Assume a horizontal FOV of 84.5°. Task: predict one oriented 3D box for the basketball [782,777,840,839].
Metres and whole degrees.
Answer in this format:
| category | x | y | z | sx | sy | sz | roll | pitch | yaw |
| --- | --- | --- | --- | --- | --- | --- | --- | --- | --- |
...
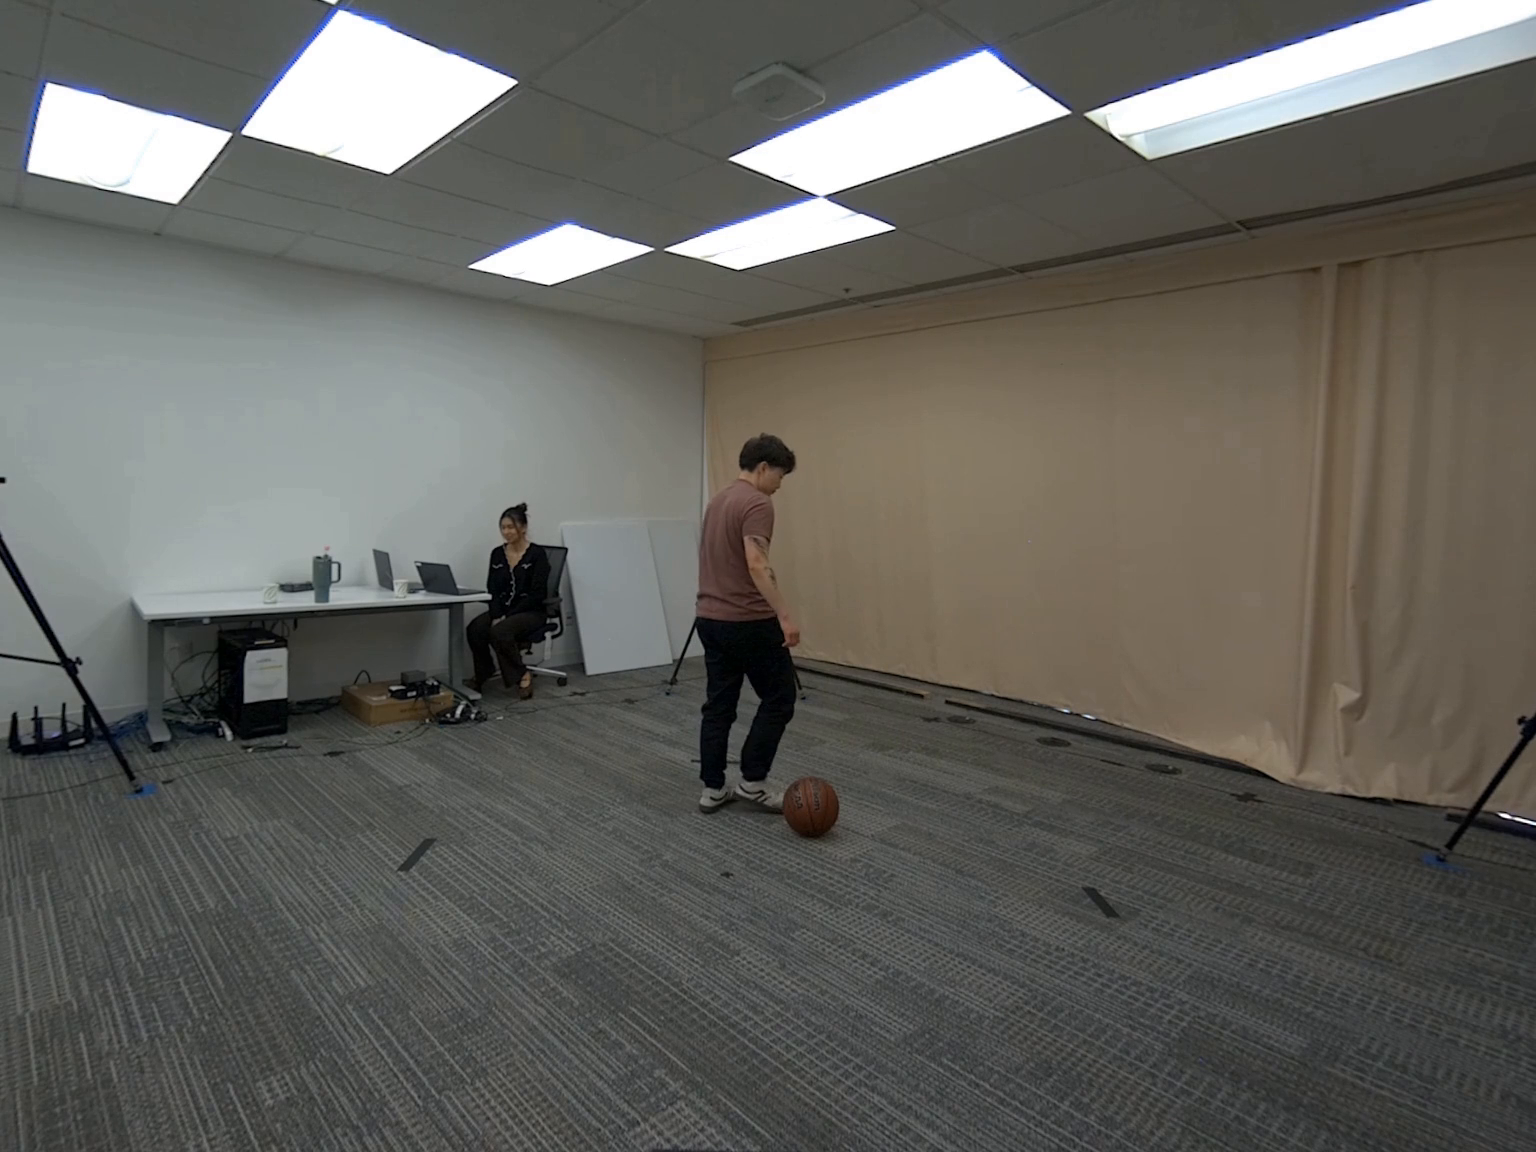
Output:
| category | x | y | z | sx | sy | sz | roll | pitch | yaw |
| --- | --- | --- | --- | --- | --- | --- | --- | --- | --- |
| basketball | 0.168 | 0.956 | 3.500 | 0.236 | 0.235 | 0.237 | 1 | 4 | -1 |
